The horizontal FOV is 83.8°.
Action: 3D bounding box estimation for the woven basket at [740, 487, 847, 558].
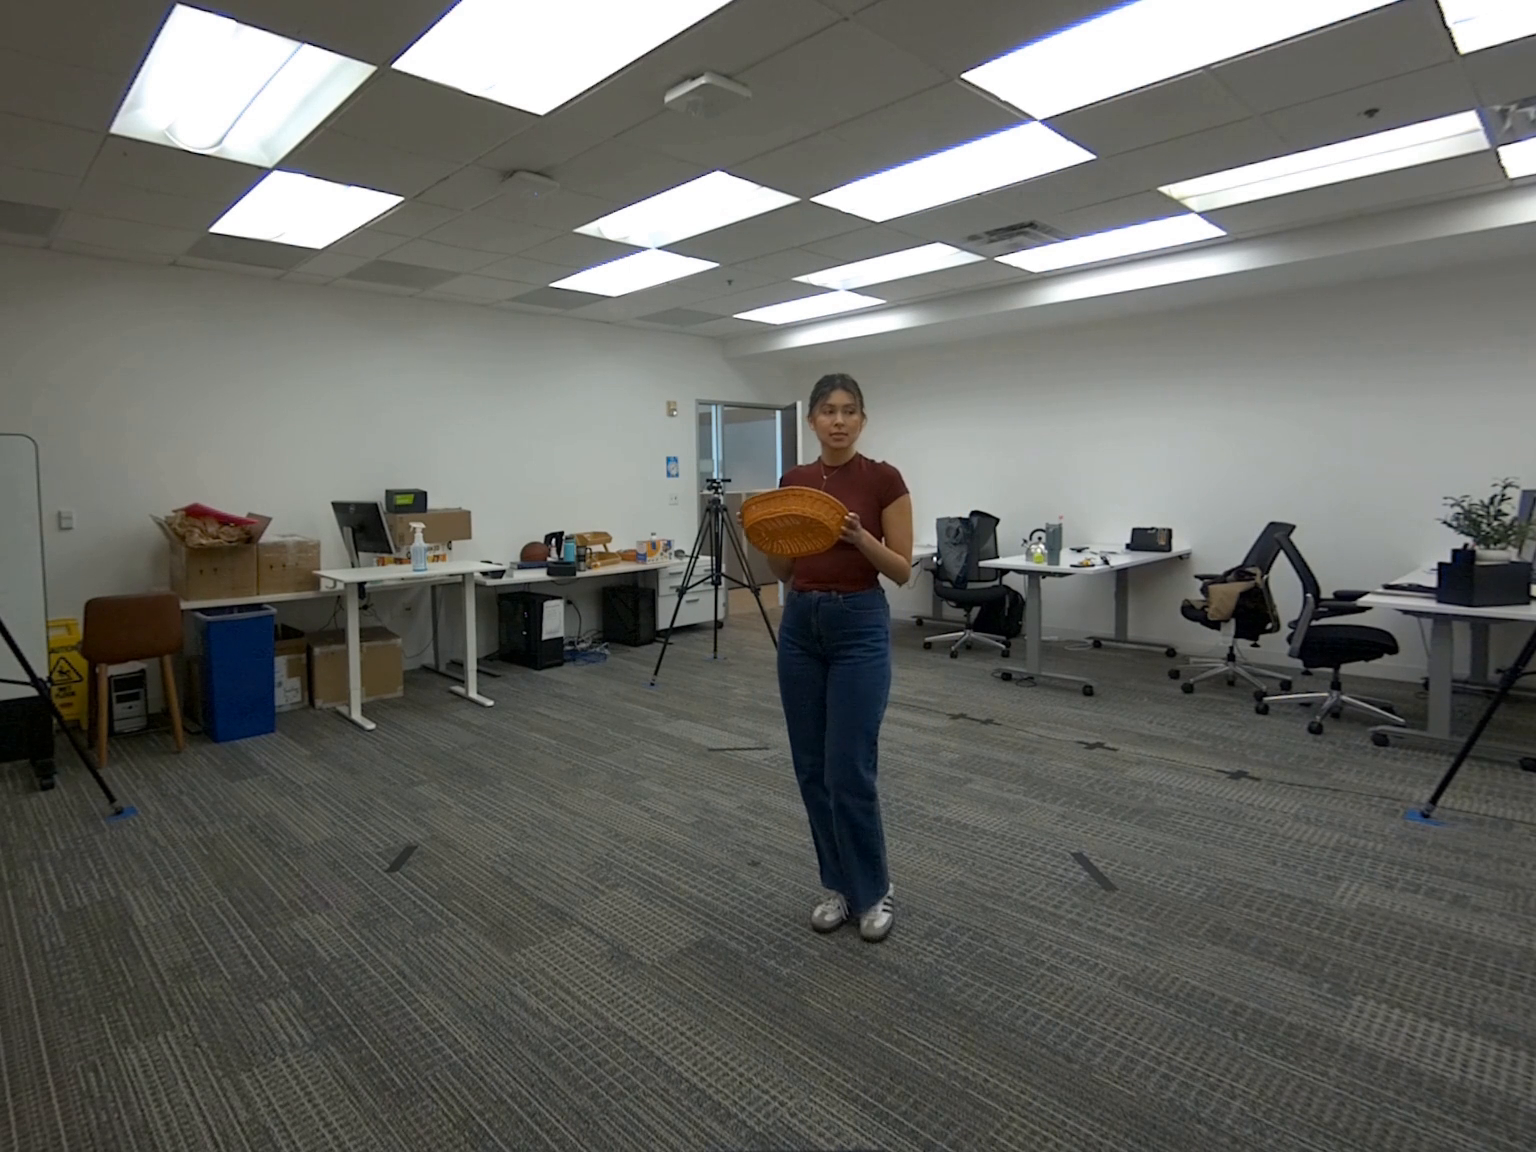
[{"bbox_3d":[0.082,-0.137,2.406,0.358,0.074,0.244,-11,-43,44],"label":"woven basket"}]
